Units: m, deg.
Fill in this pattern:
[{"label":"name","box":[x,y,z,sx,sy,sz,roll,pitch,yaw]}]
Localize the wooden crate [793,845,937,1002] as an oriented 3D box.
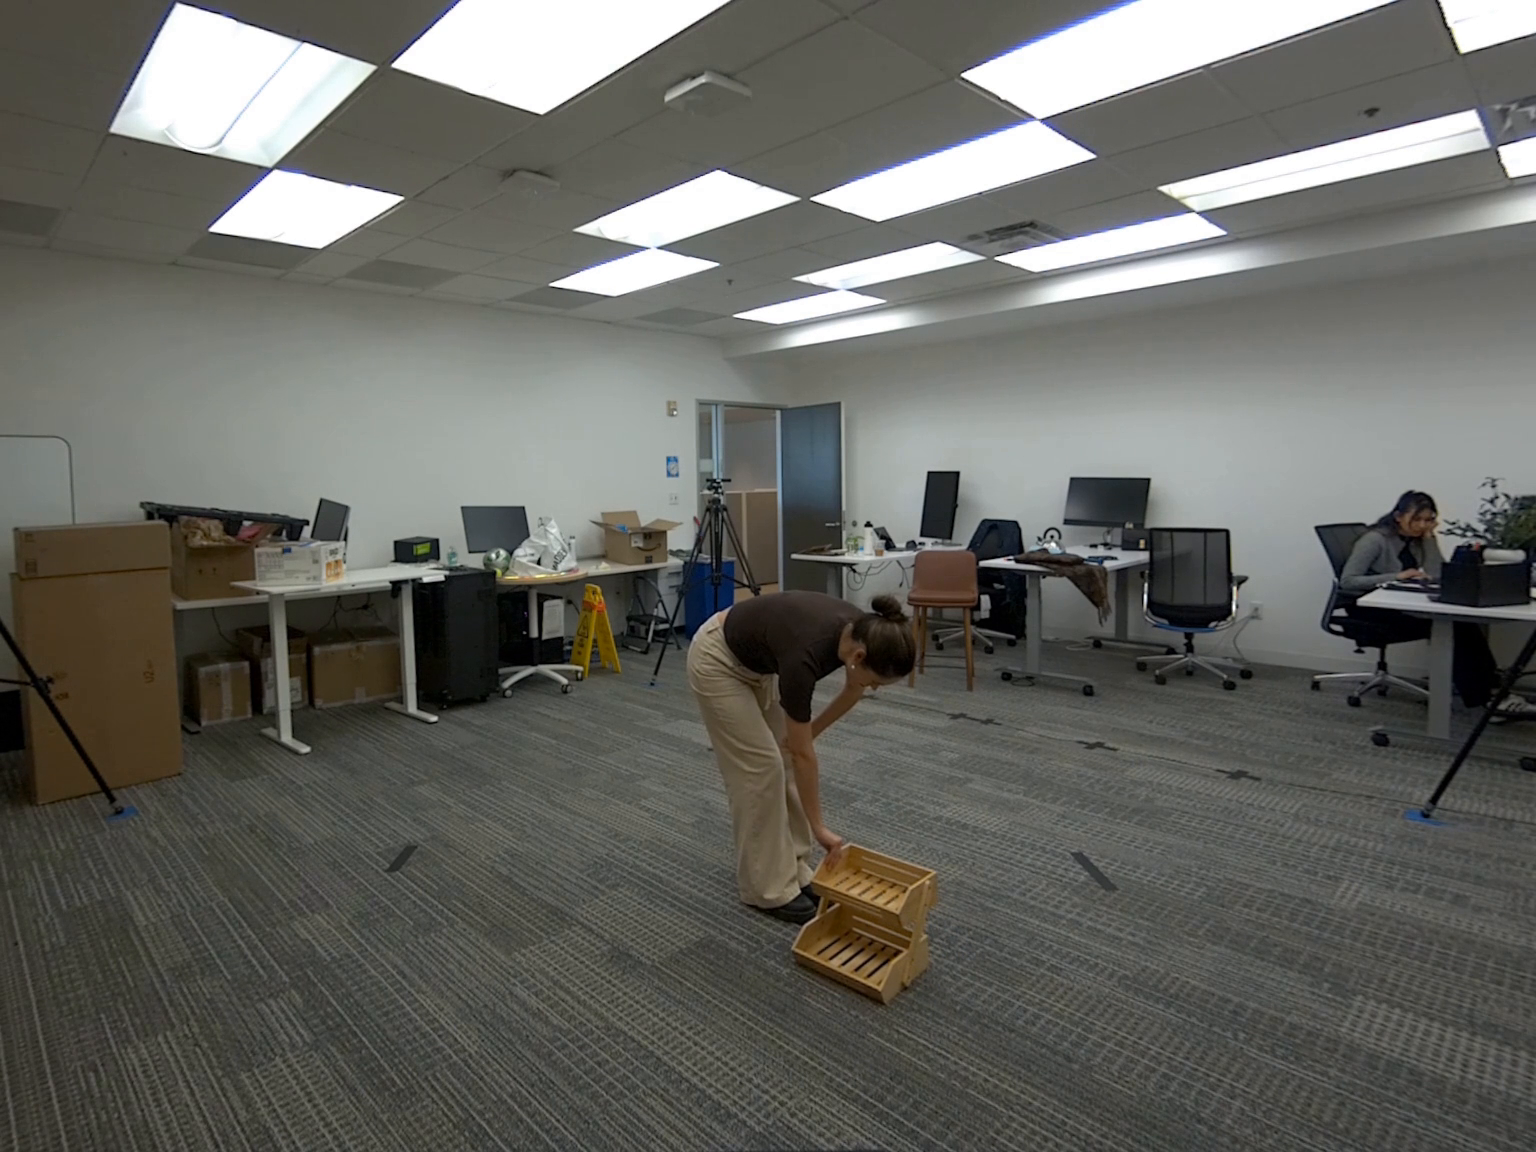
[{"label":"wooden crate","box":[0.281,0.980,2.451,0.334,0.272,0.294,4,6,41]}]
